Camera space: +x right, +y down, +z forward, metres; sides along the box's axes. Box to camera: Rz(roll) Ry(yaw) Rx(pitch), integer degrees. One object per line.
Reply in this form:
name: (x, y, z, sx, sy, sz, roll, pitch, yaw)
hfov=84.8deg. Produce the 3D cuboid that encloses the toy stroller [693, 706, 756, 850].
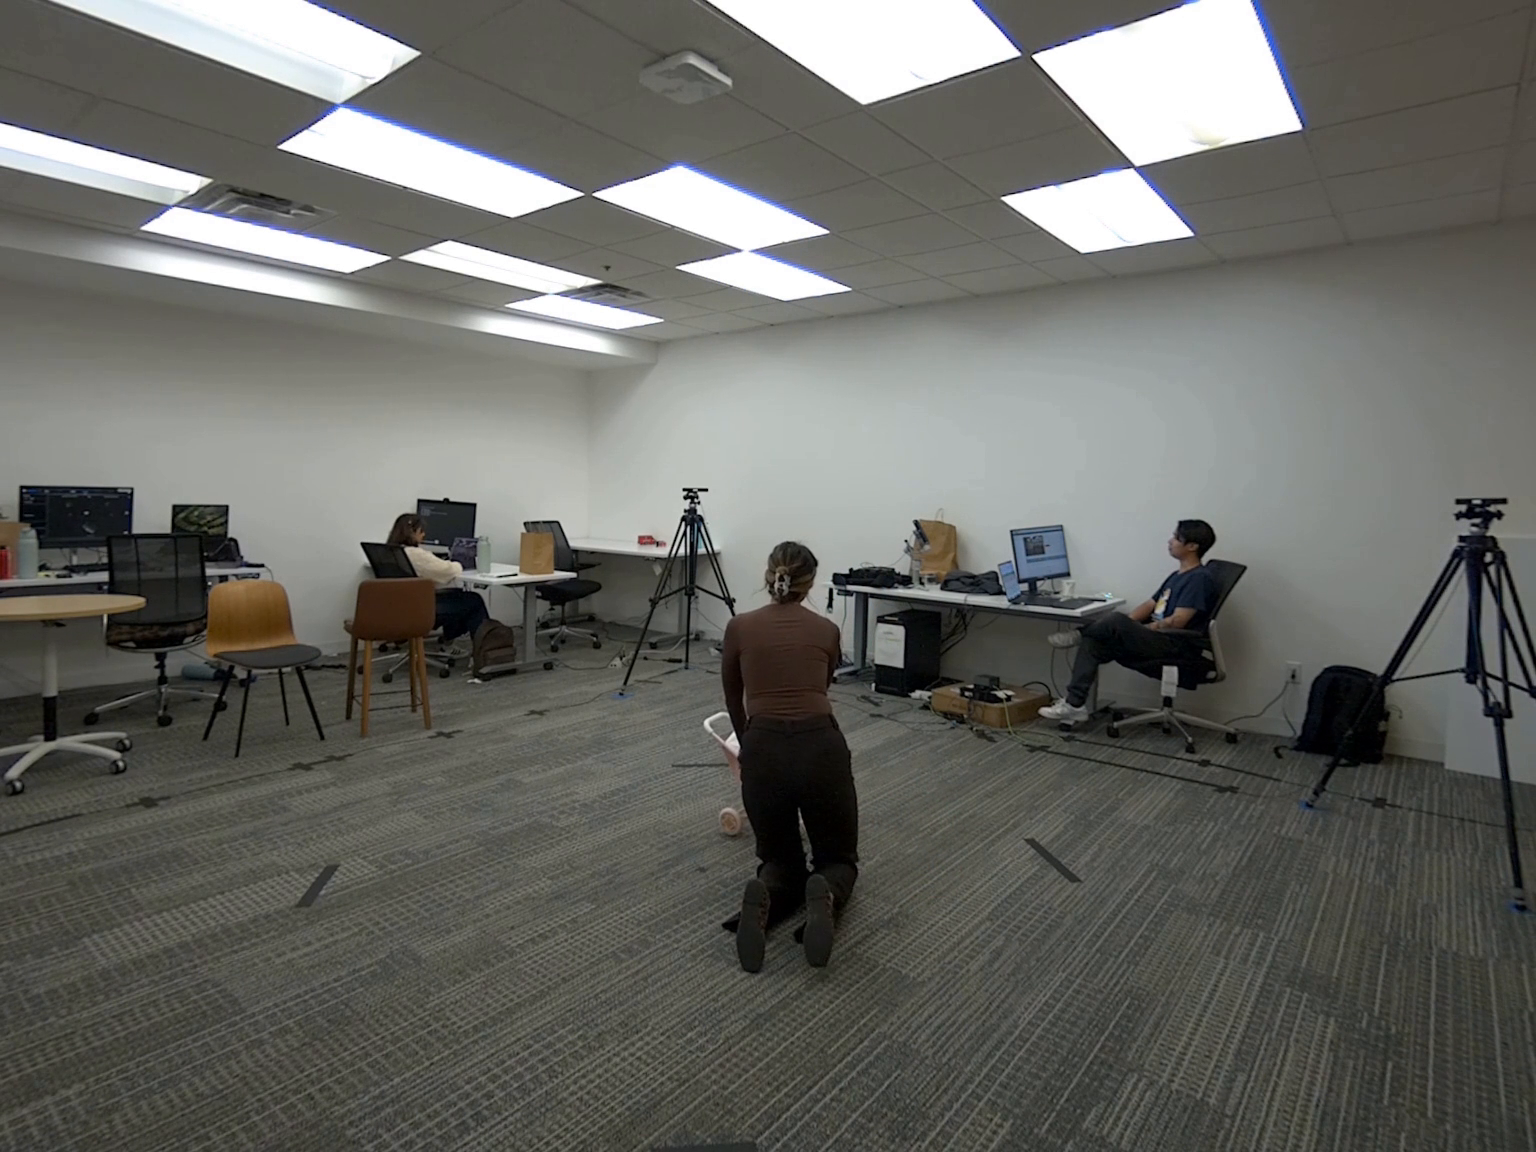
toy stroller: (-0.039, 0.808, 3.478, 0.349, 0.538, 0.274, -15, -4, 34)
